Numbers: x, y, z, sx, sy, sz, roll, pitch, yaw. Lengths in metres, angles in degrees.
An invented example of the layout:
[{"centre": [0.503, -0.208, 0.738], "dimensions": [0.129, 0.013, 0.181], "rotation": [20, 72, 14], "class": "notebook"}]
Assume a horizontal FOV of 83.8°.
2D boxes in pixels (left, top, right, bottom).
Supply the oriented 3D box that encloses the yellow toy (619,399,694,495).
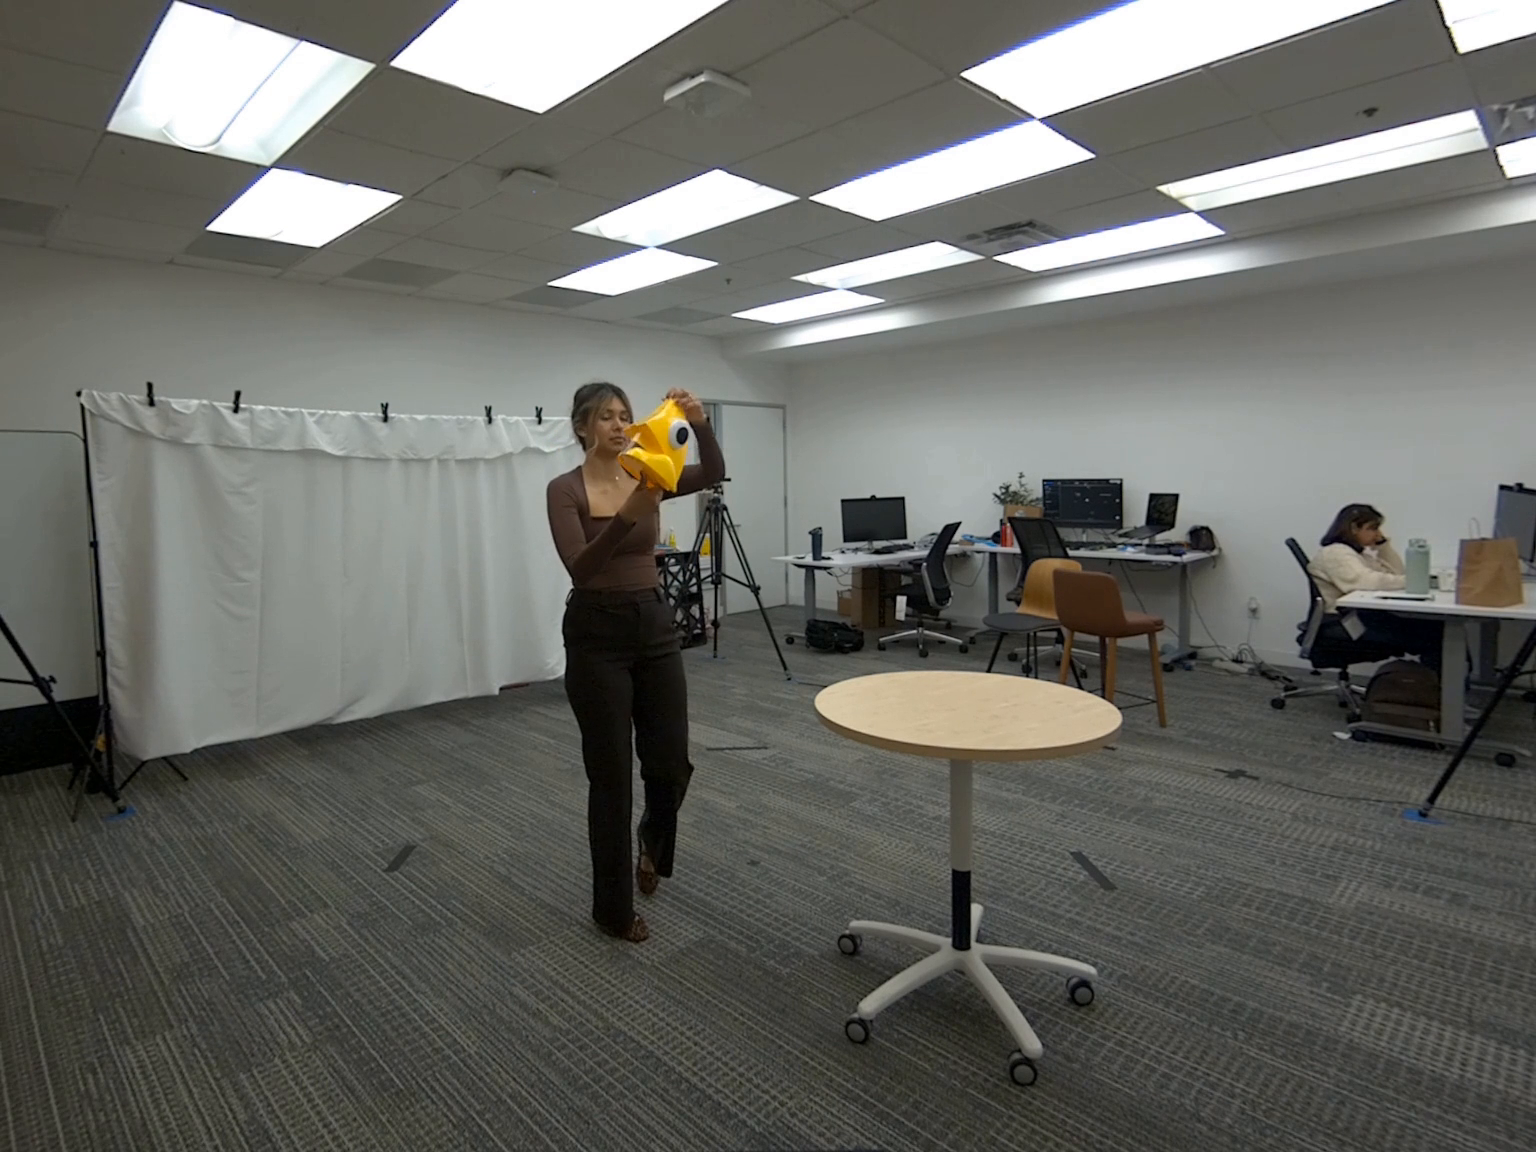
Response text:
[{"centre": [-0.263, -0.365, 2.277], "dimensions": [0.188, 0.231, 0.209], "rotation": [40, -14, -21], "class": "yellow toy"}]
